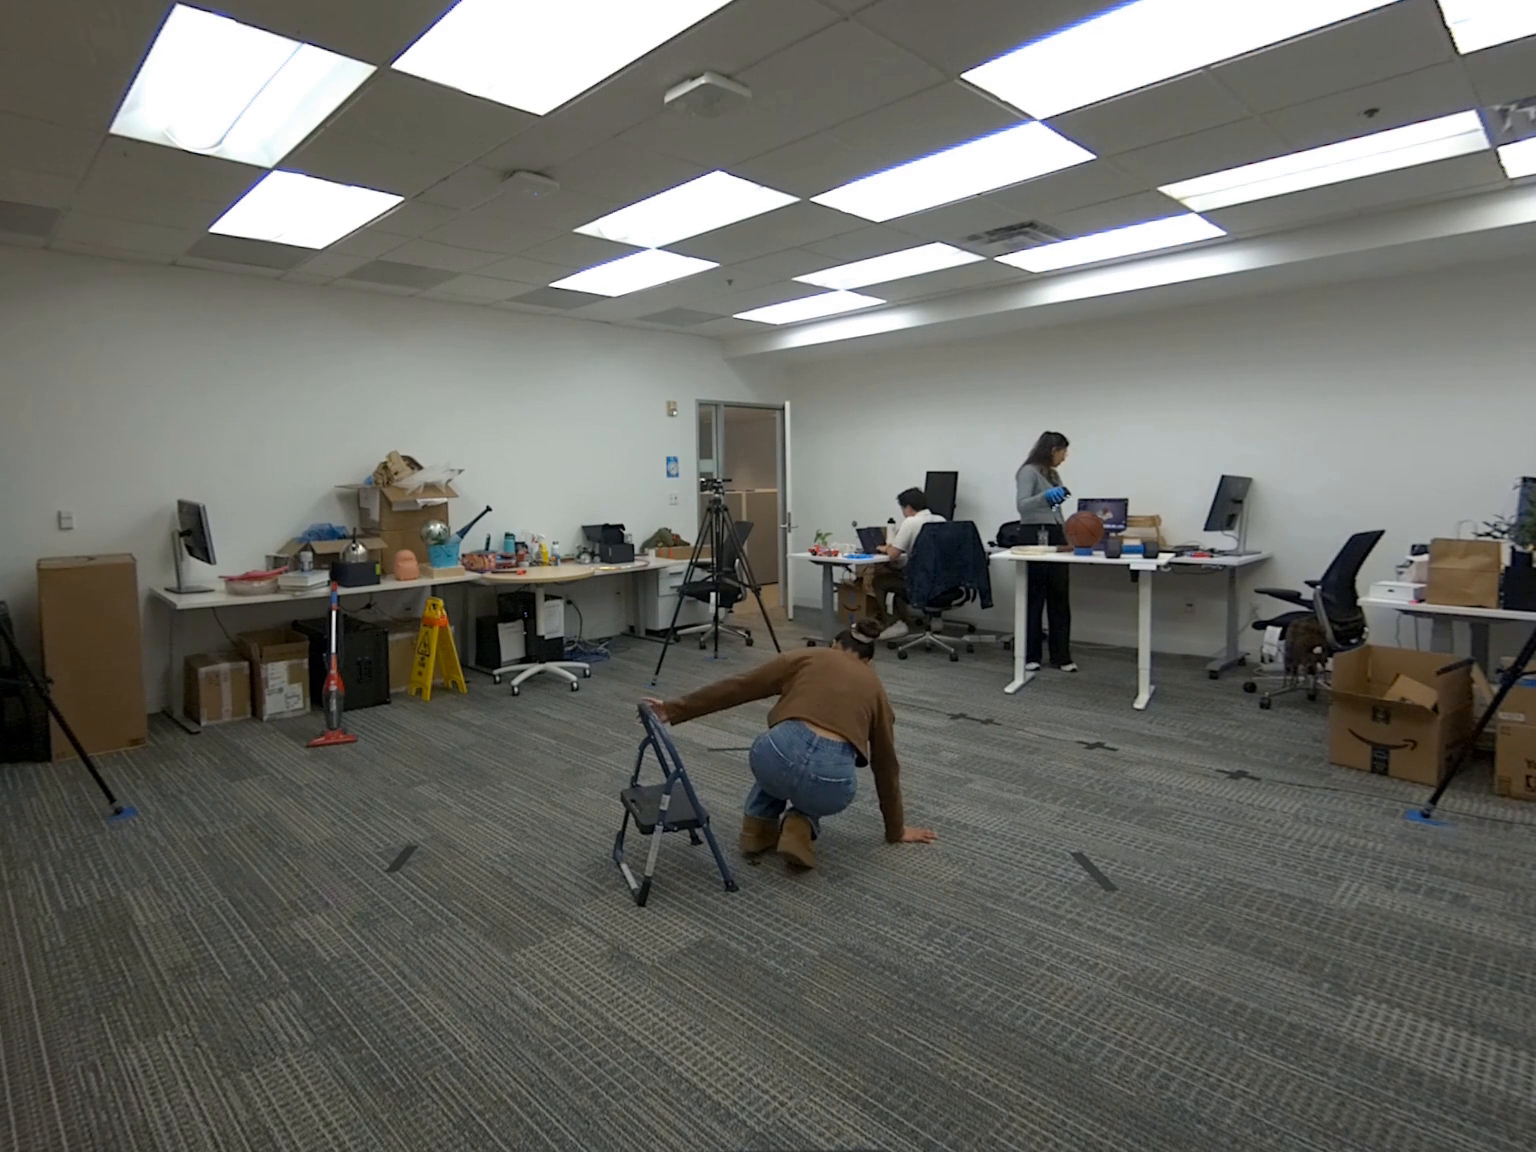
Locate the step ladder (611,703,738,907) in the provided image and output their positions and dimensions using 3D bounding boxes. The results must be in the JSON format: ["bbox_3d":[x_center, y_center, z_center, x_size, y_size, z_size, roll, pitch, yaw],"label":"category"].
[{"bbox_3d":[-0.341,0.756,3.029,0.343,0.604,0.440,-2,5,-22],"label":"step ladder"}]
